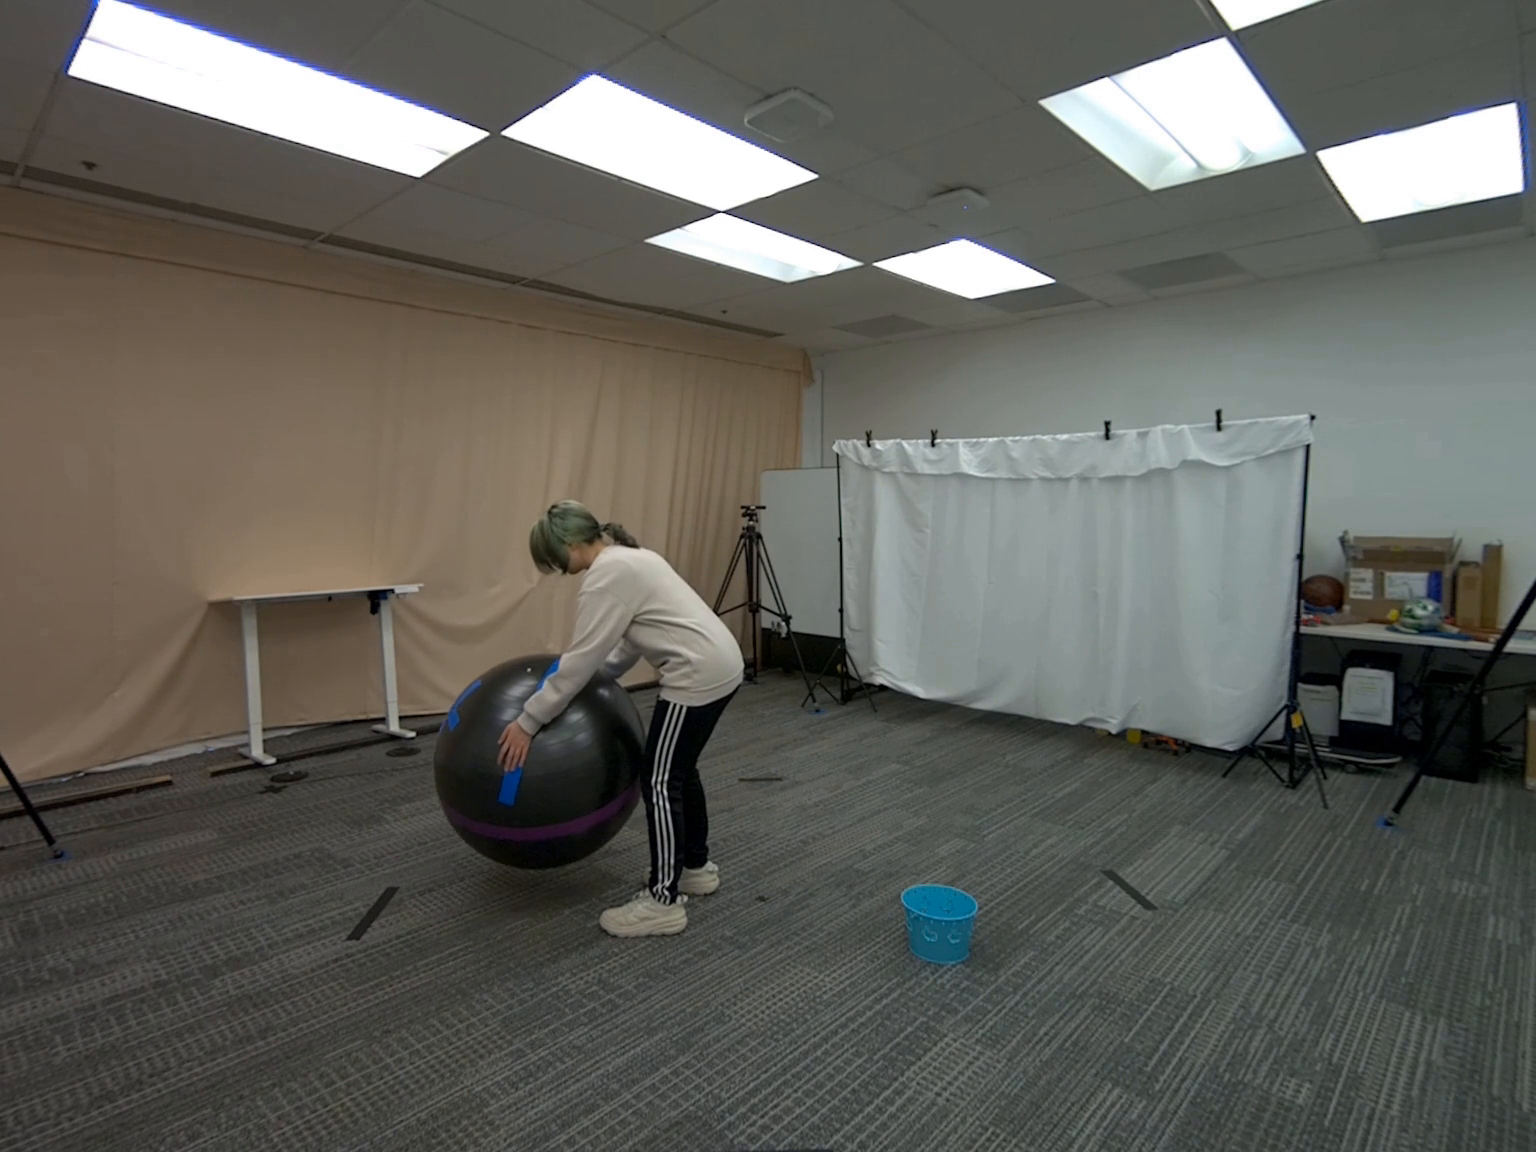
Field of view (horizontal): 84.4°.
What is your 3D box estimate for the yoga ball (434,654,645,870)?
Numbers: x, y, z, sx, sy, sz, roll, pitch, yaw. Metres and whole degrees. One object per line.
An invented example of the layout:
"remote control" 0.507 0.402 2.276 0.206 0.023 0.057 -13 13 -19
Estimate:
"yoga ball" -0.815 0.661 3.061 0.757 0.756 0.760 0 4 -2
